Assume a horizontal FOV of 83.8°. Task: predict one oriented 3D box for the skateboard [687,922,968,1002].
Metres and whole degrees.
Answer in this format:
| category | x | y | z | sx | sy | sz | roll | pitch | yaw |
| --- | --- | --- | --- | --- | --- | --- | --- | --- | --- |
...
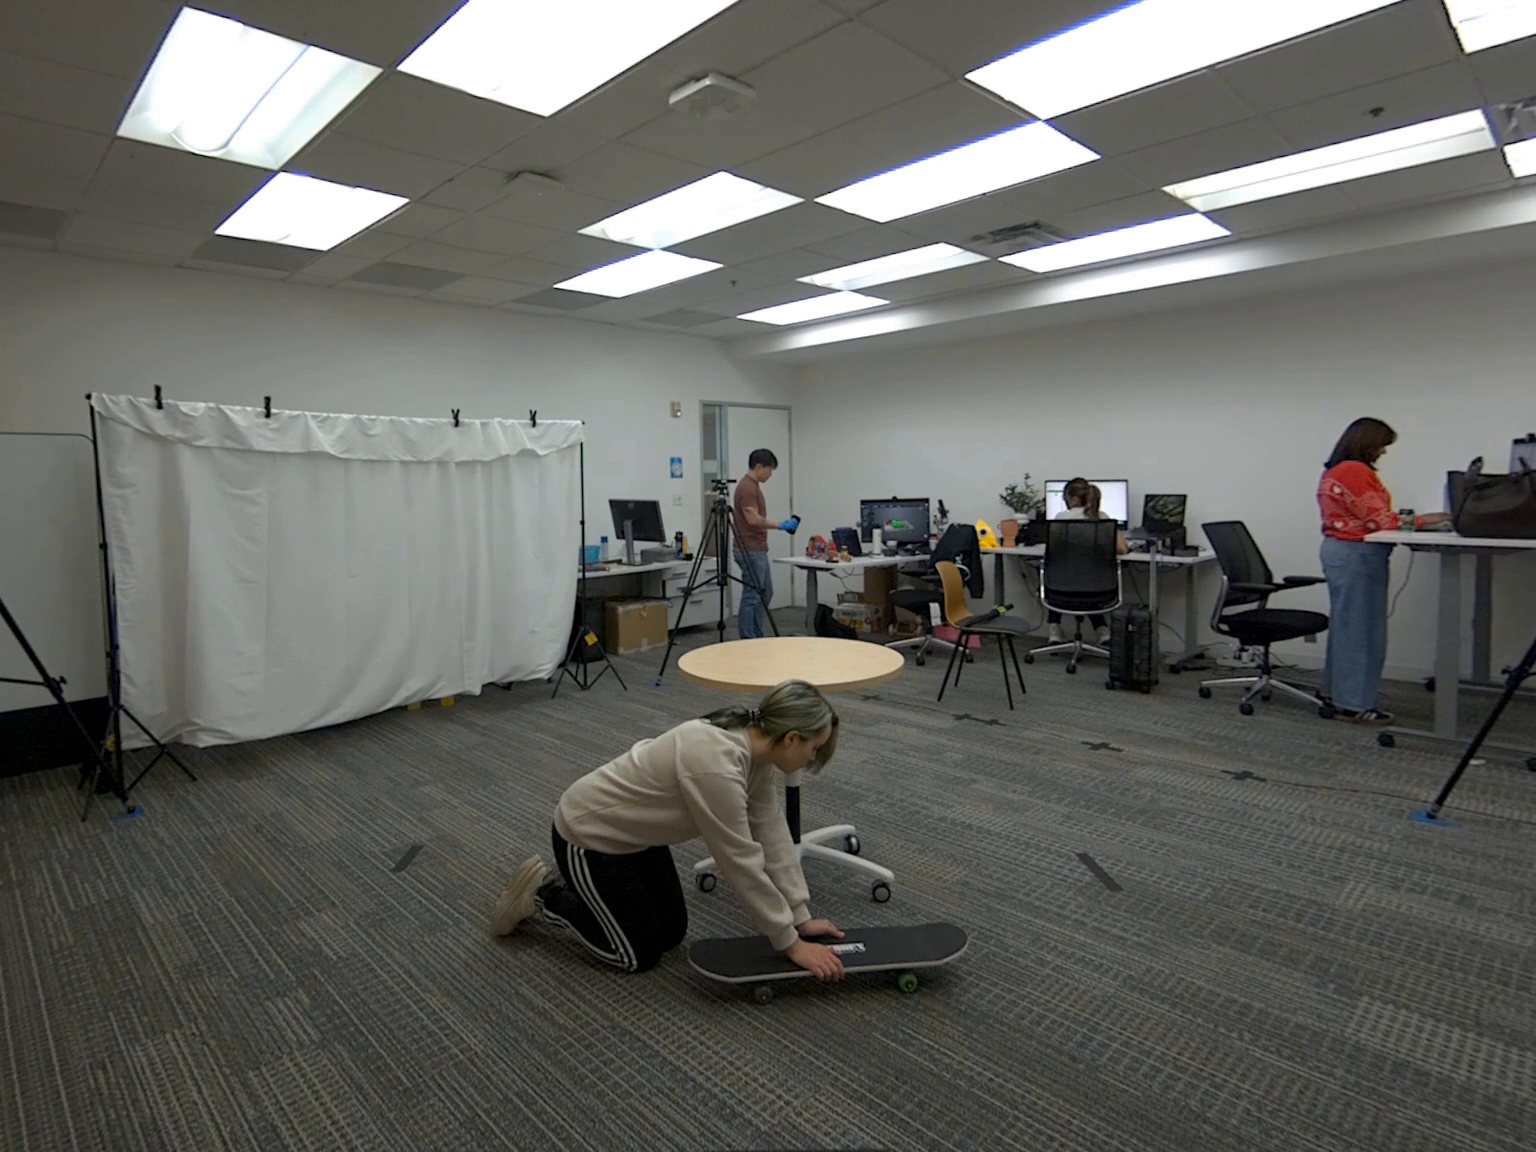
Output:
| category | x | y | z | sx | sy | sz | roll | pitch | yaw |
| --- | --- | --- | --- | --- | --- | --- | --- | --- | --- |
| skateboard | 0.173 | 1.068 | 2.375 | 0.783 | 0.110 | 0.195 | -1 | 7 | -4 |
